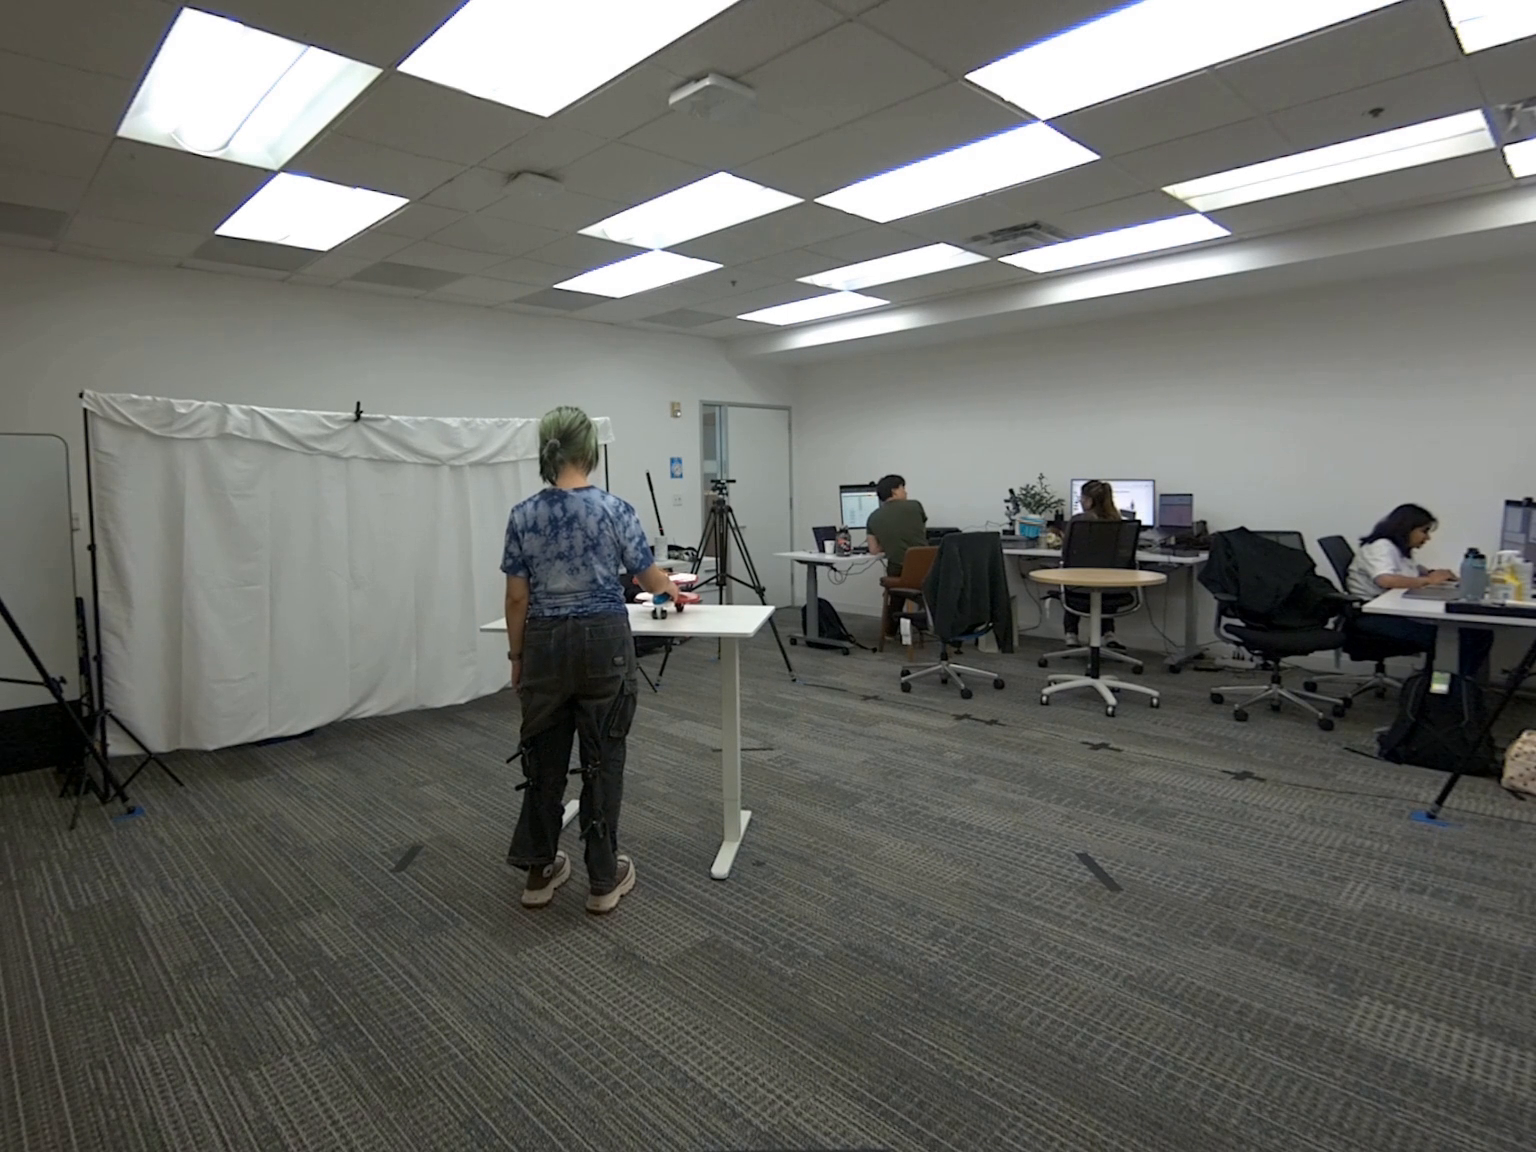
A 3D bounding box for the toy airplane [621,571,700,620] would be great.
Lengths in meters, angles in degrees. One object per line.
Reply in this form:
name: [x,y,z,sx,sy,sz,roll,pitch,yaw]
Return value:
toy airplane: [-0.384,0.073,3.294,0.246,0.156,0.265,-2,5,-21]
